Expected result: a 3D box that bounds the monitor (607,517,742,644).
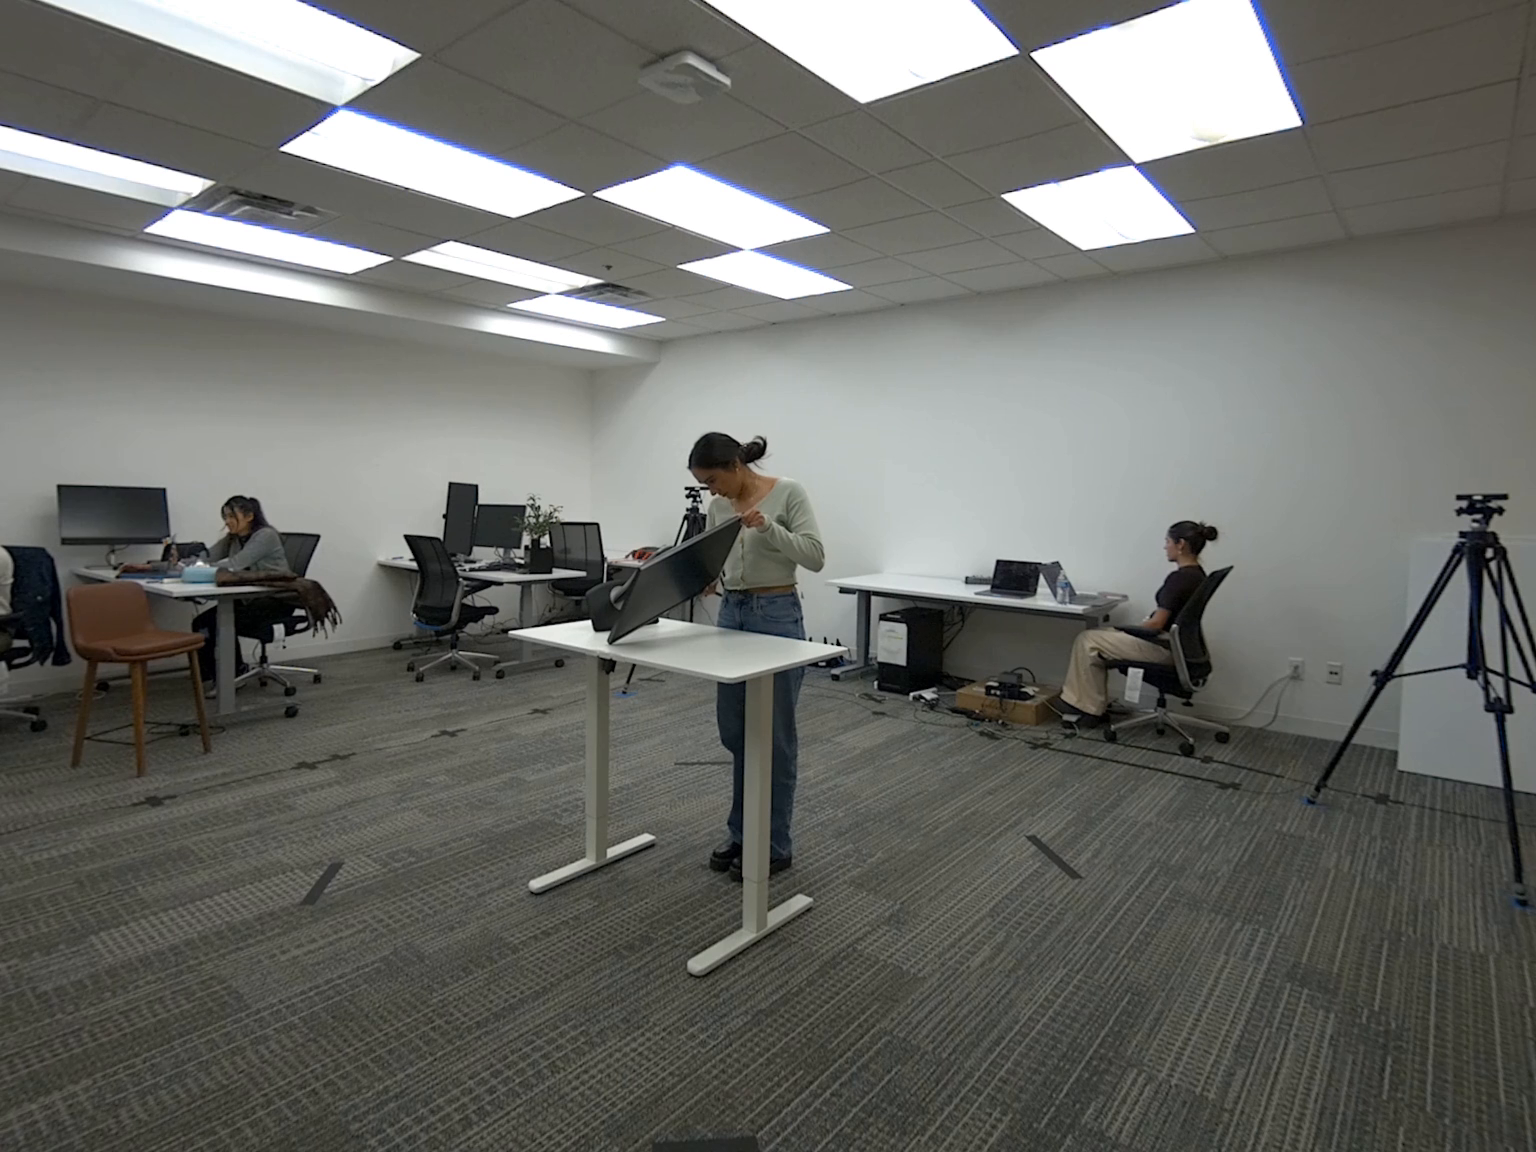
[{"bbox_3d":[-0.381,0.017,2.873,0.531,0.189,0.525,-31,-6,-48],"label":"monitor"}]
